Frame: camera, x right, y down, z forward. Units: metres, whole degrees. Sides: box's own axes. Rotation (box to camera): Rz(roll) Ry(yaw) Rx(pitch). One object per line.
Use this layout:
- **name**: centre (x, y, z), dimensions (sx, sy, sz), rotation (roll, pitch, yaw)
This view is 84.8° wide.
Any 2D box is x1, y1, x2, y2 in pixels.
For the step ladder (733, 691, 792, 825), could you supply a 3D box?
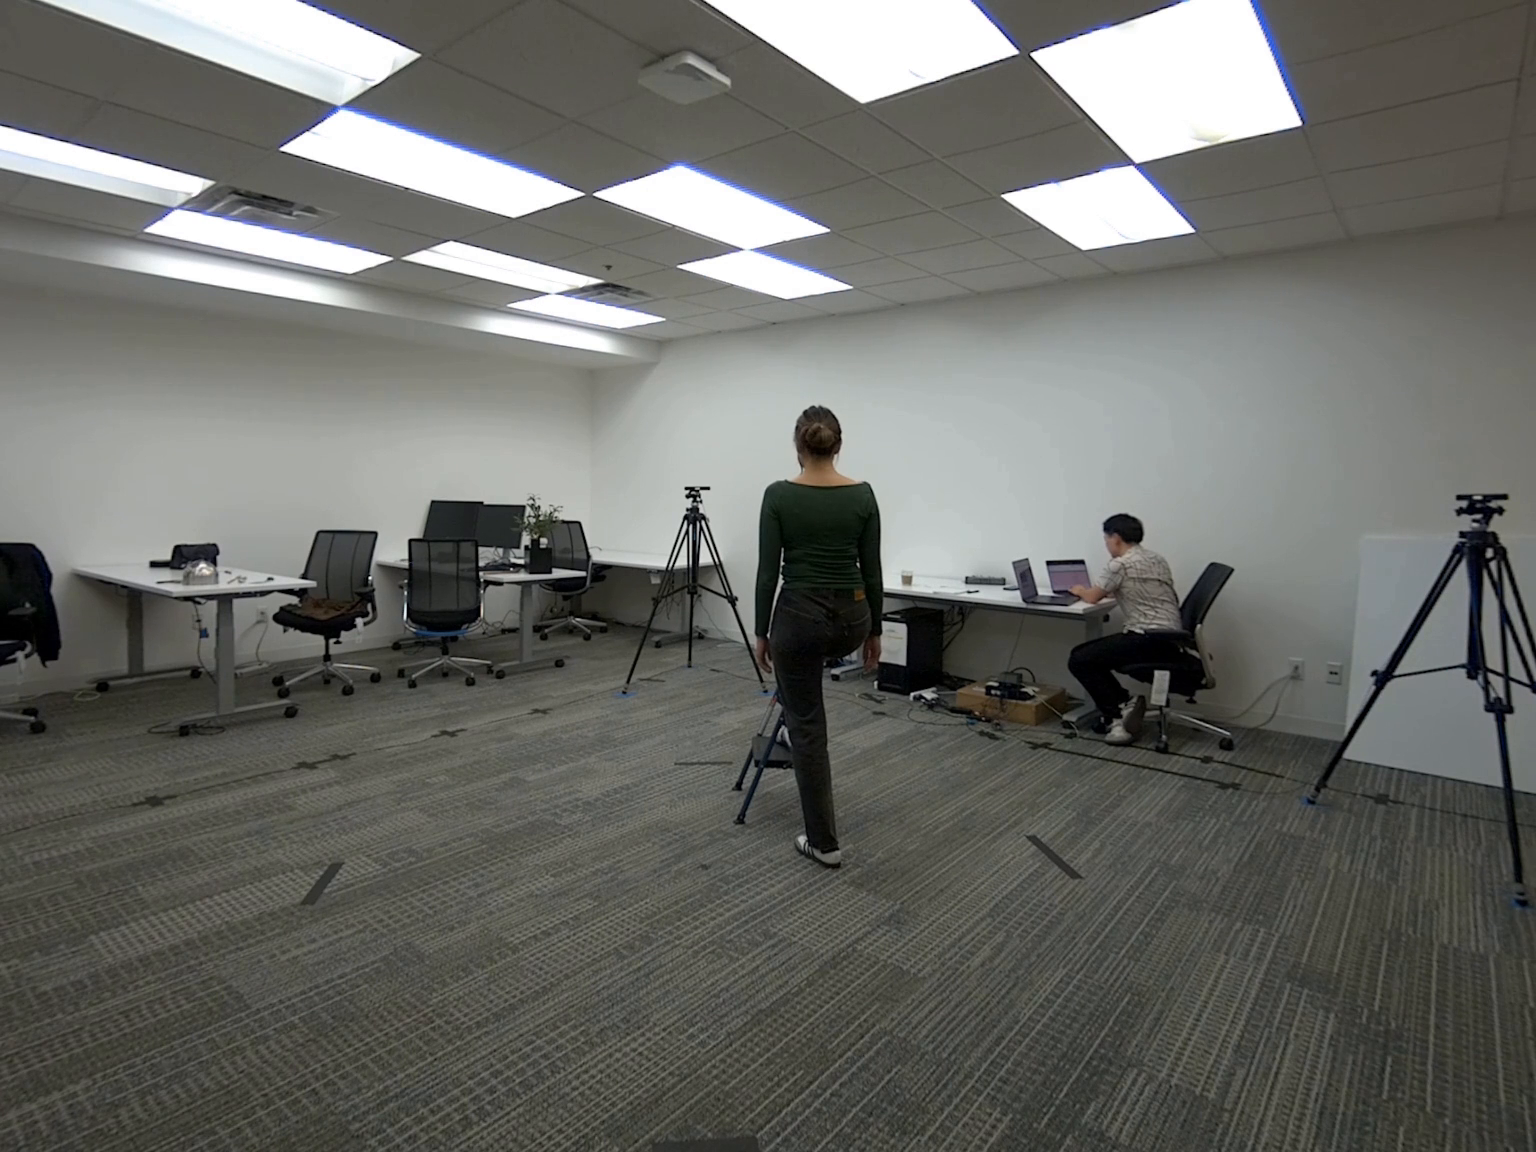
- **step ladder**: centre (0.016, 0.711, 3.722), dimensions (0.349, 0.604, 0.433), rotation (0, 3, -3)
